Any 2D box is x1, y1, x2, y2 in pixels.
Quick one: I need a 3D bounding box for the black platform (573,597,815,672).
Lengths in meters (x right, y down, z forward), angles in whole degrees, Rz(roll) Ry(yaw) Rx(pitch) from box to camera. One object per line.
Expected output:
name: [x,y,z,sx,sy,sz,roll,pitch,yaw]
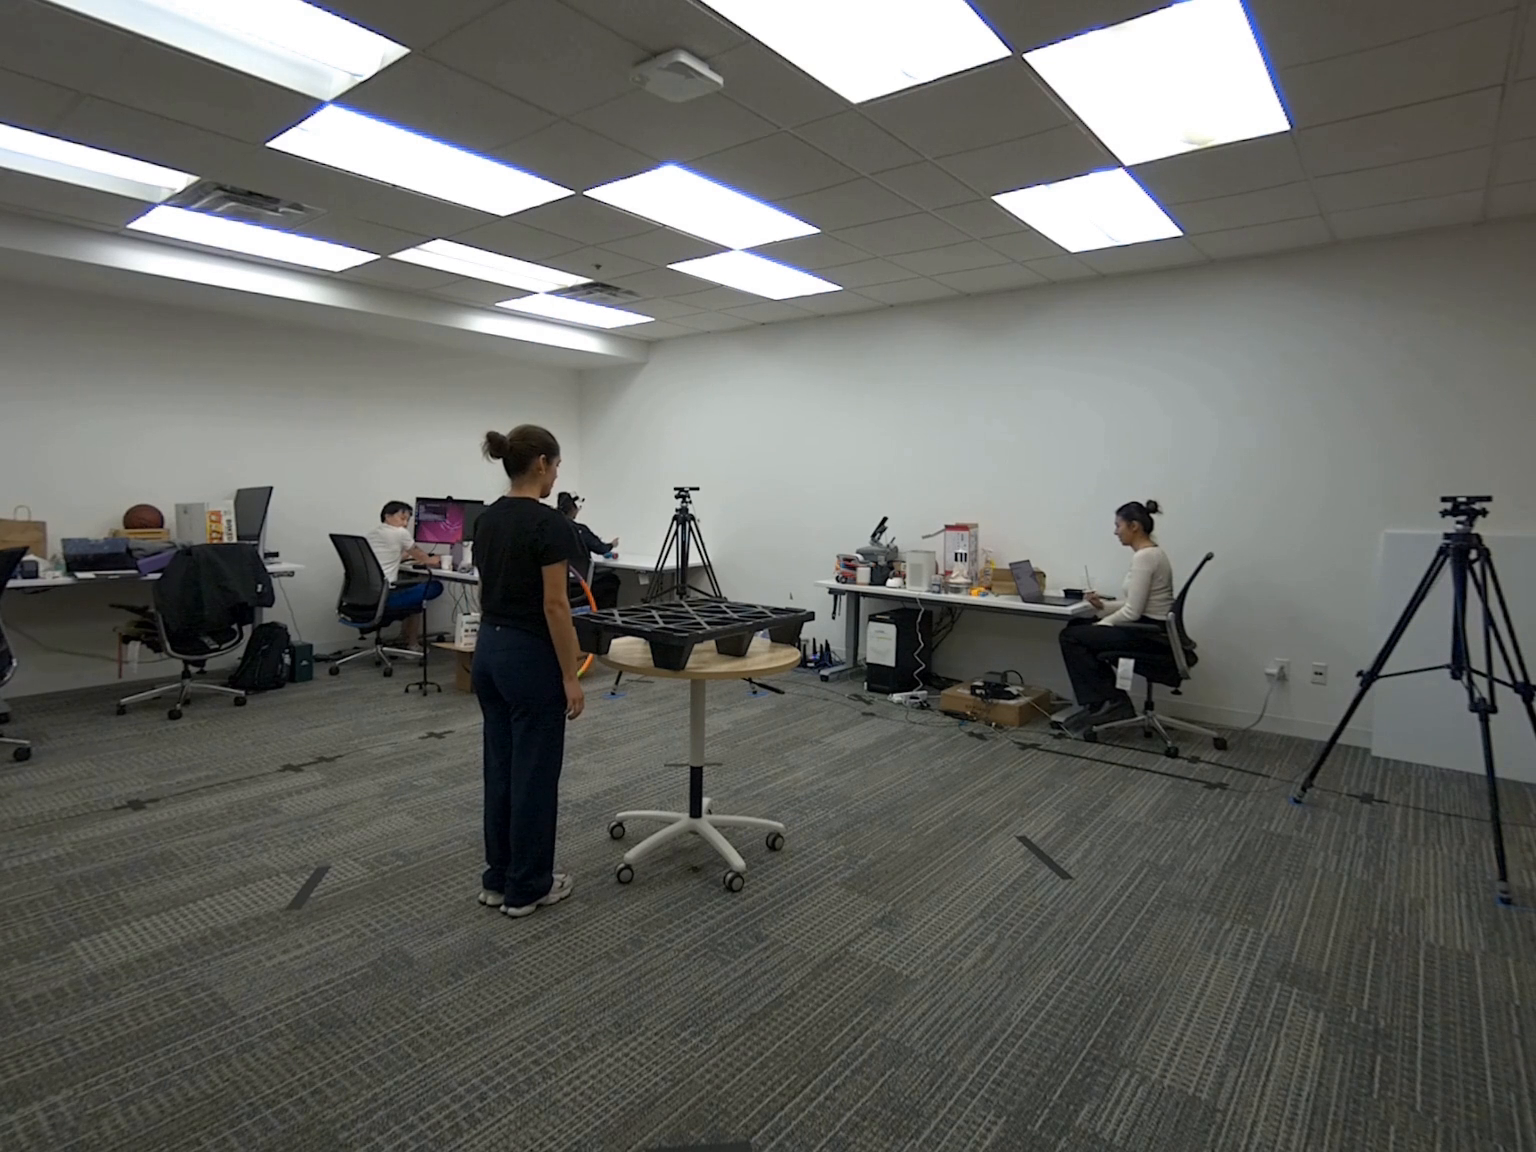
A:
black platform: [-0.273,0.205,3.258,0.625,0.143,0.782,5,7,38]
